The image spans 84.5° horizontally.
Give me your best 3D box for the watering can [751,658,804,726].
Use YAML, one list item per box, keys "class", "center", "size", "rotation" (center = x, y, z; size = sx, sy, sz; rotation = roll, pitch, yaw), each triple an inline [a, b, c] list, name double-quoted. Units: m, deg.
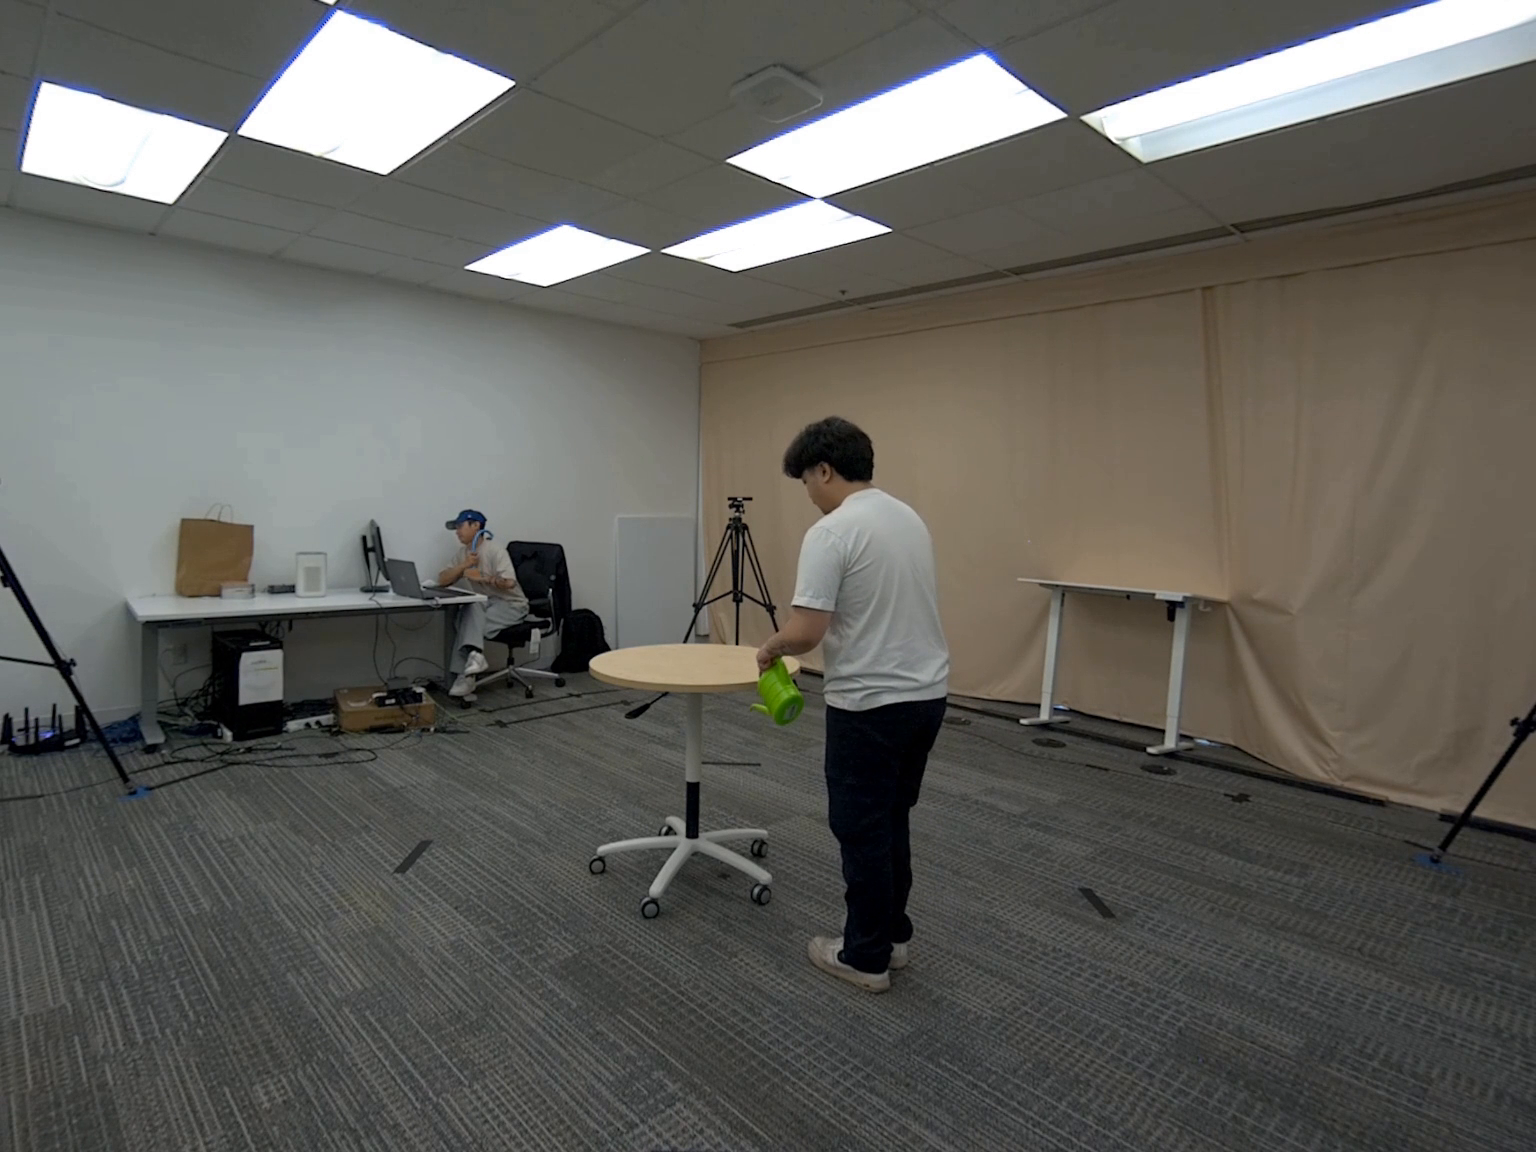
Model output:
- class: "watering can"
  center: [0.024, 0.378, 2.598]
  size: [0.097, 0.272, 0.182]
  rotation: [-14, 45, -20]
